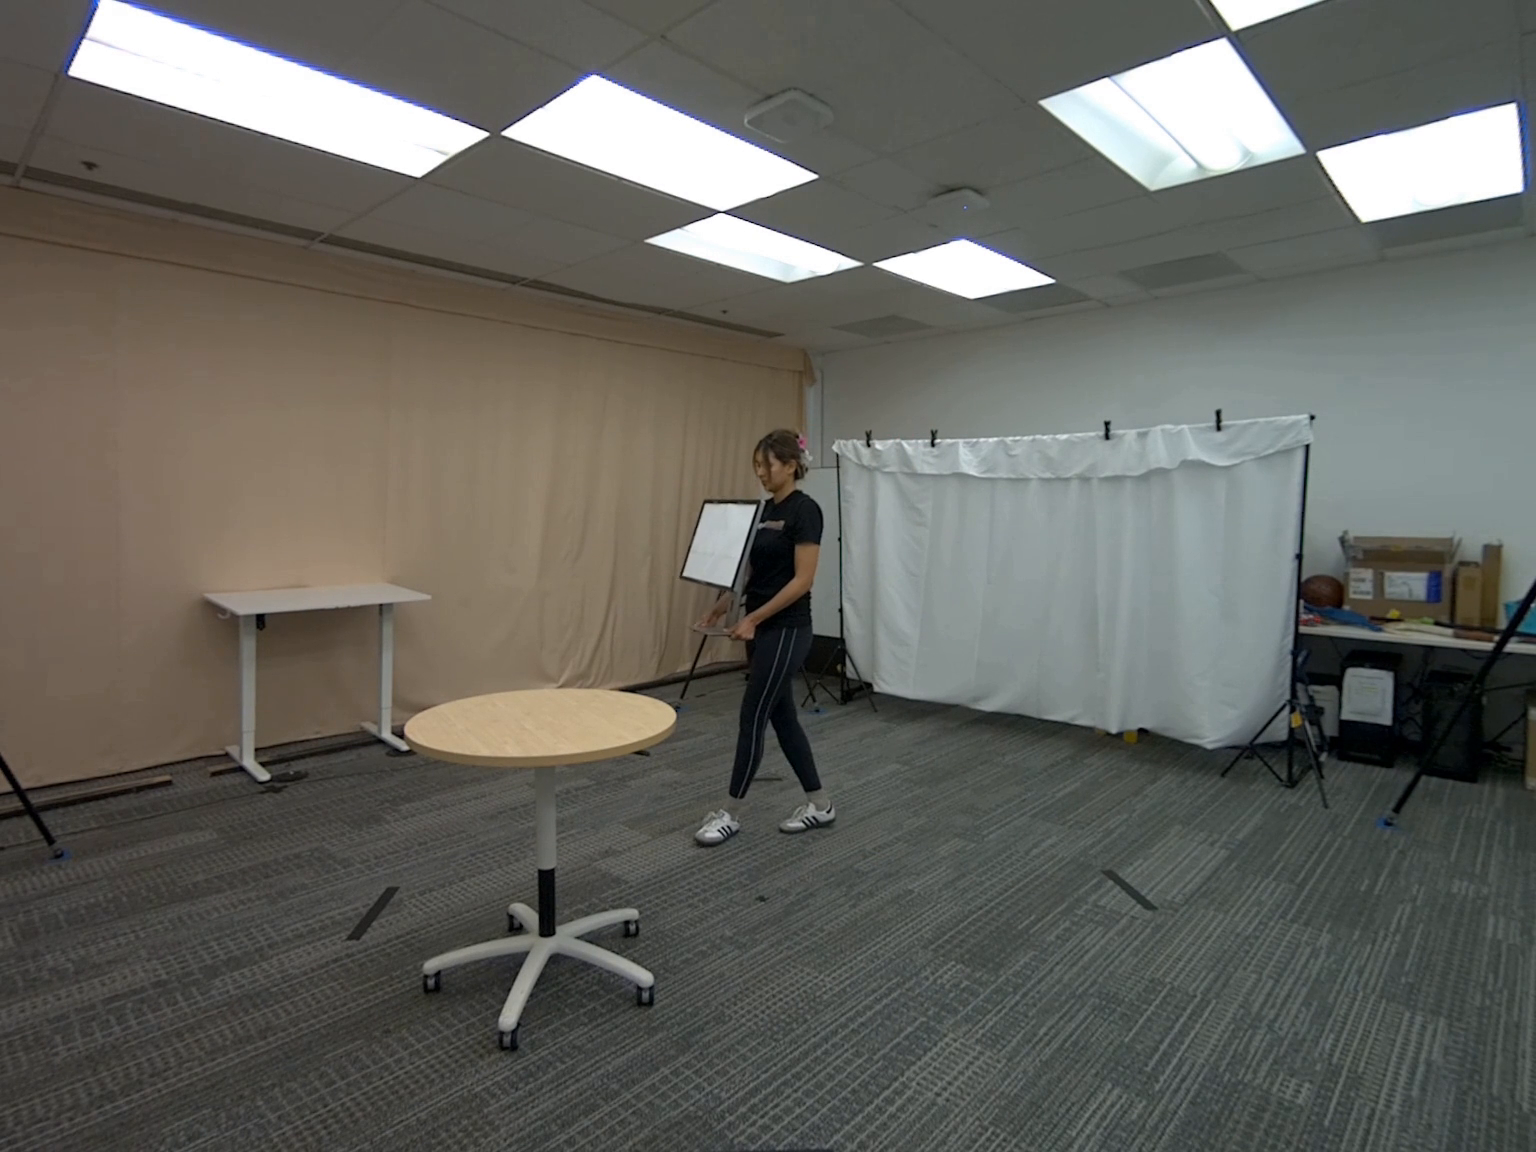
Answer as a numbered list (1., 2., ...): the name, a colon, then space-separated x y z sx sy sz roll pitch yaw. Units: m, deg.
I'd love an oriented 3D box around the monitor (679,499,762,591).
1. monitor: -0.169 -0.042 3.429 0.182 0.522 0.554 5 2 -28
